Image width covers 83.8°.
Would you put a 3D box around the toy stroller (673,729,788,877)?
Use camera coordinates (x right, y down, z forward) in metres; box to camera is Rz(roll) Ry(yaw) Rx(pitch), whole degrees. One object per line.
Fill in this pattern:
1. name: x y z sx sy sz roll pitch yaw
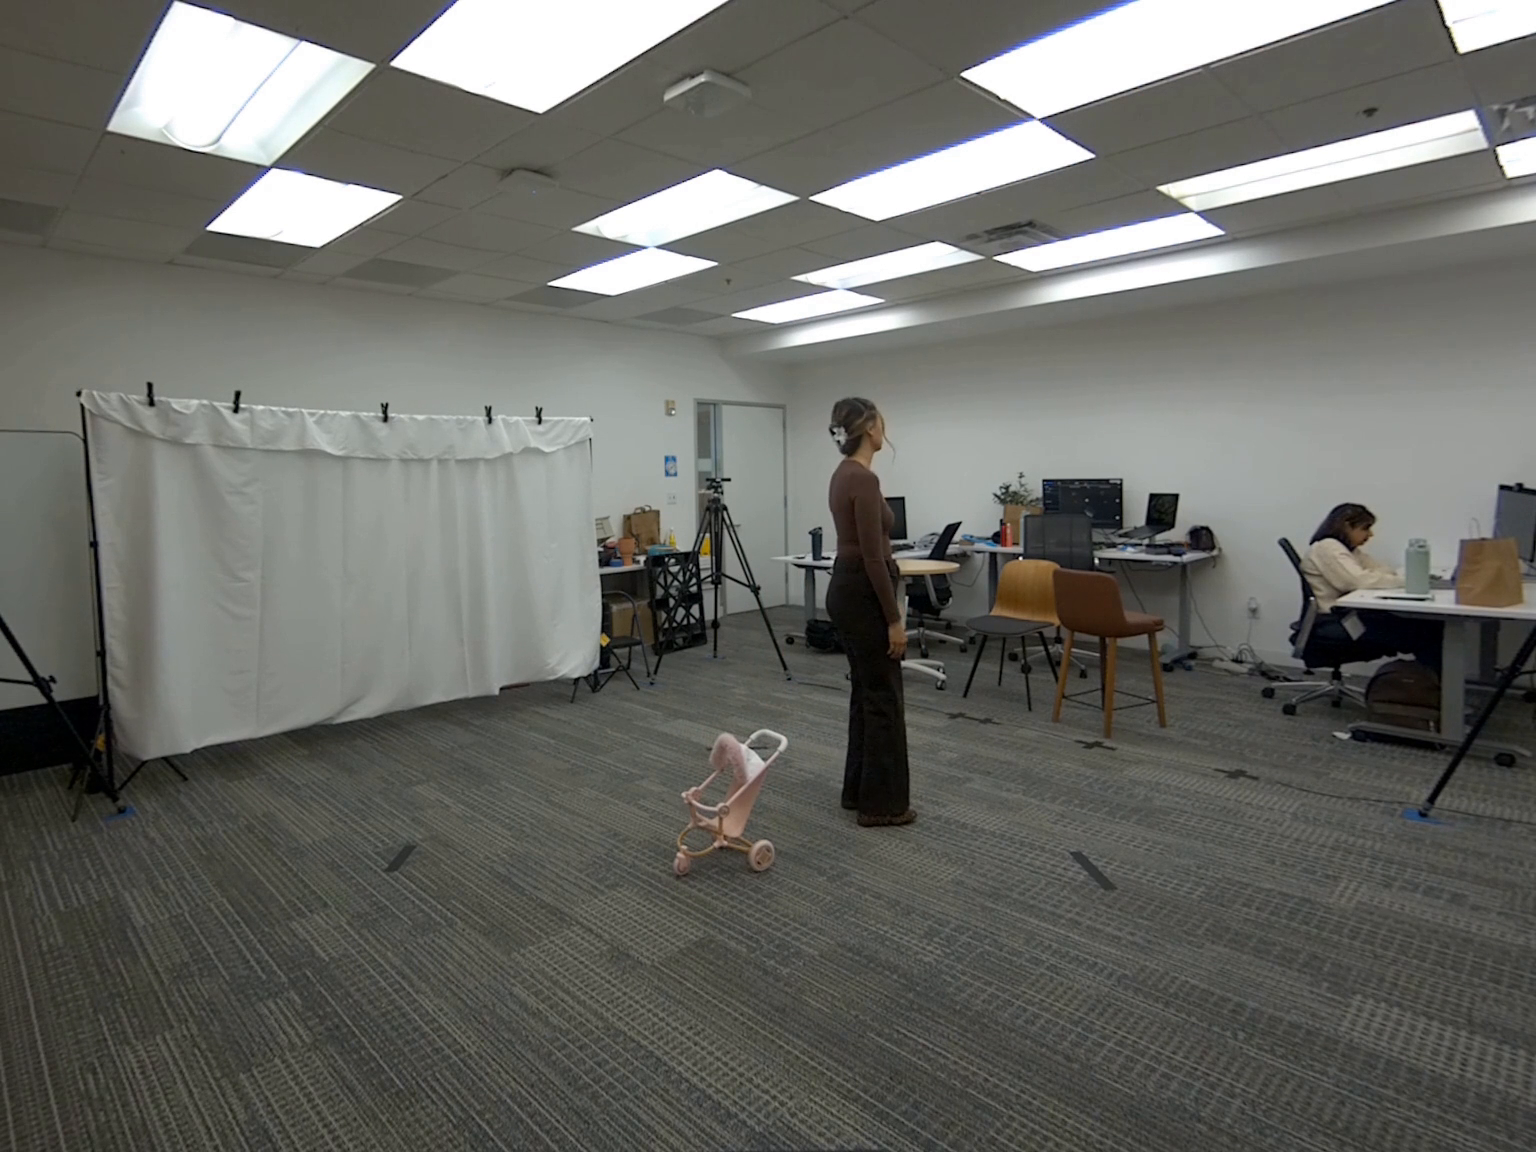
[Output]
1. toy stroller: -0.149 0.816 3.102 0.331 0.536 0.289 14 -3 -29
